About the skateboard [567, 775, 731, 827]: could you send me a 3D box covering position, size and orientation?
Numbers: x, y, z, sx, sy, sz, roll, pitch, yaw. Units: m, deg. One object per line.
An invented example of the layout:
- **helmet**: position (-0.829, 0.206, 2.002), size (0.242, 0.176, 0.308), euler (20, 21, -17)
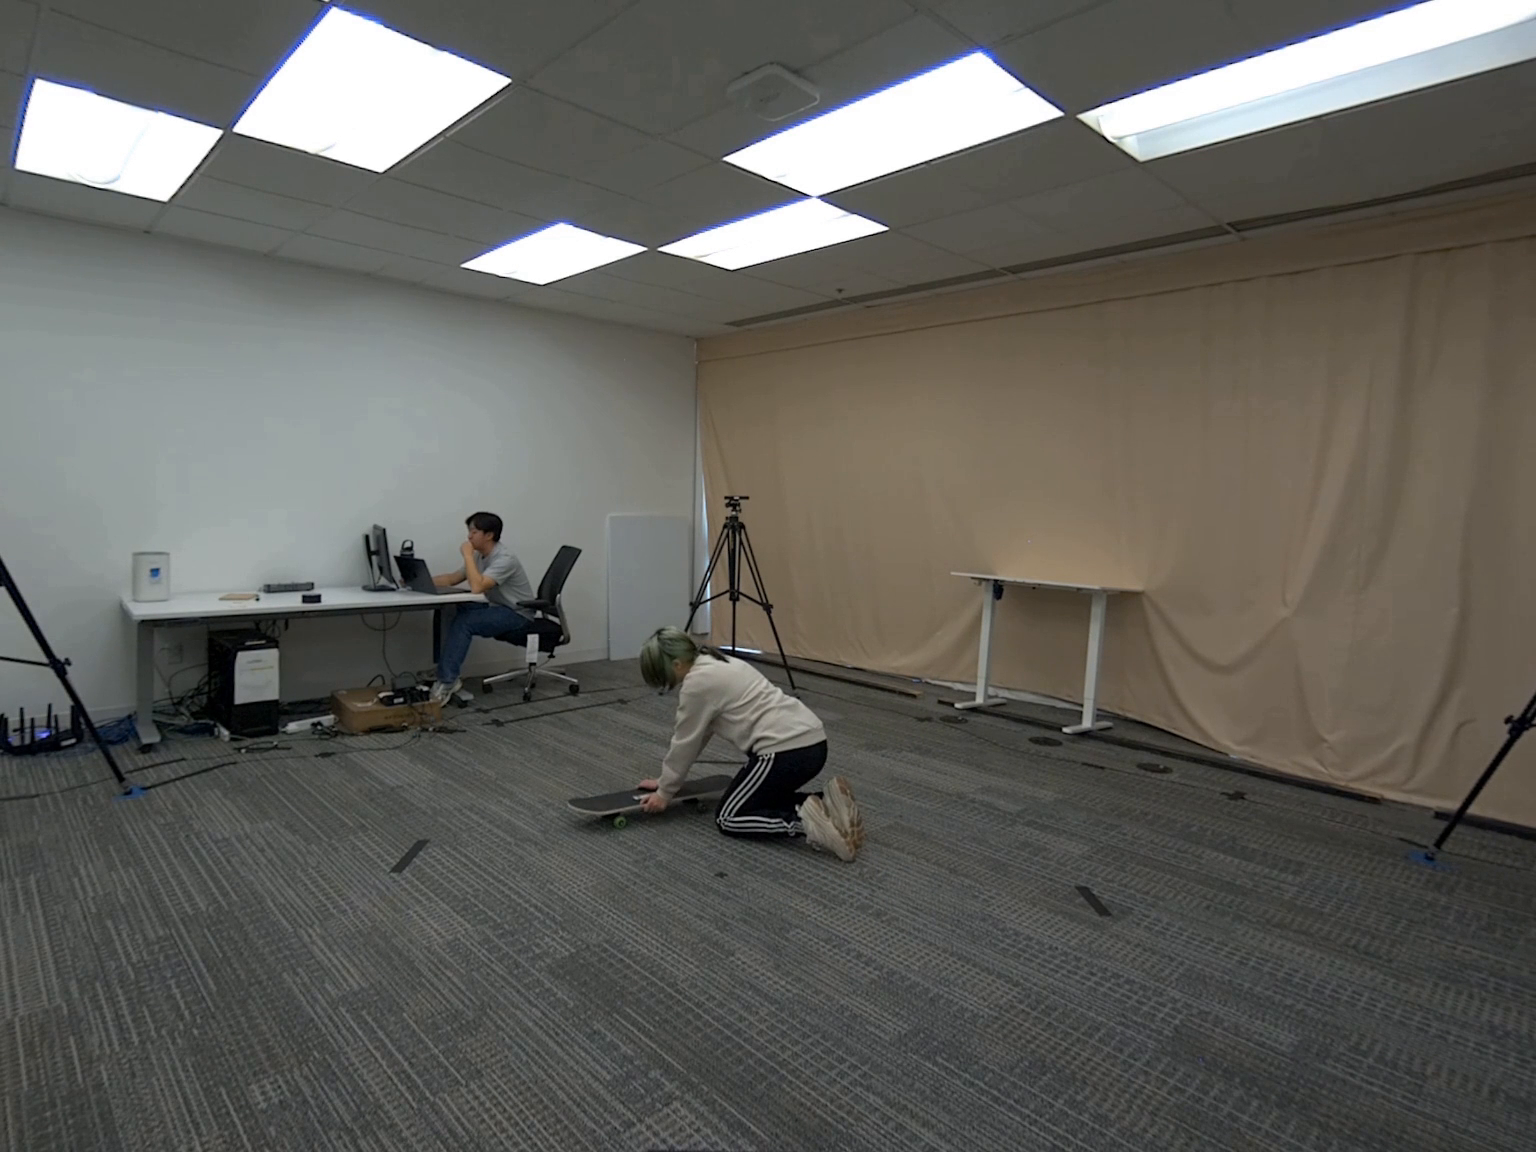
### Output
- **skateboard**: position (-0.505, 0.980, 3.692), size (0.769, 0.110, 0.198), euler (-1, 5, -31)
